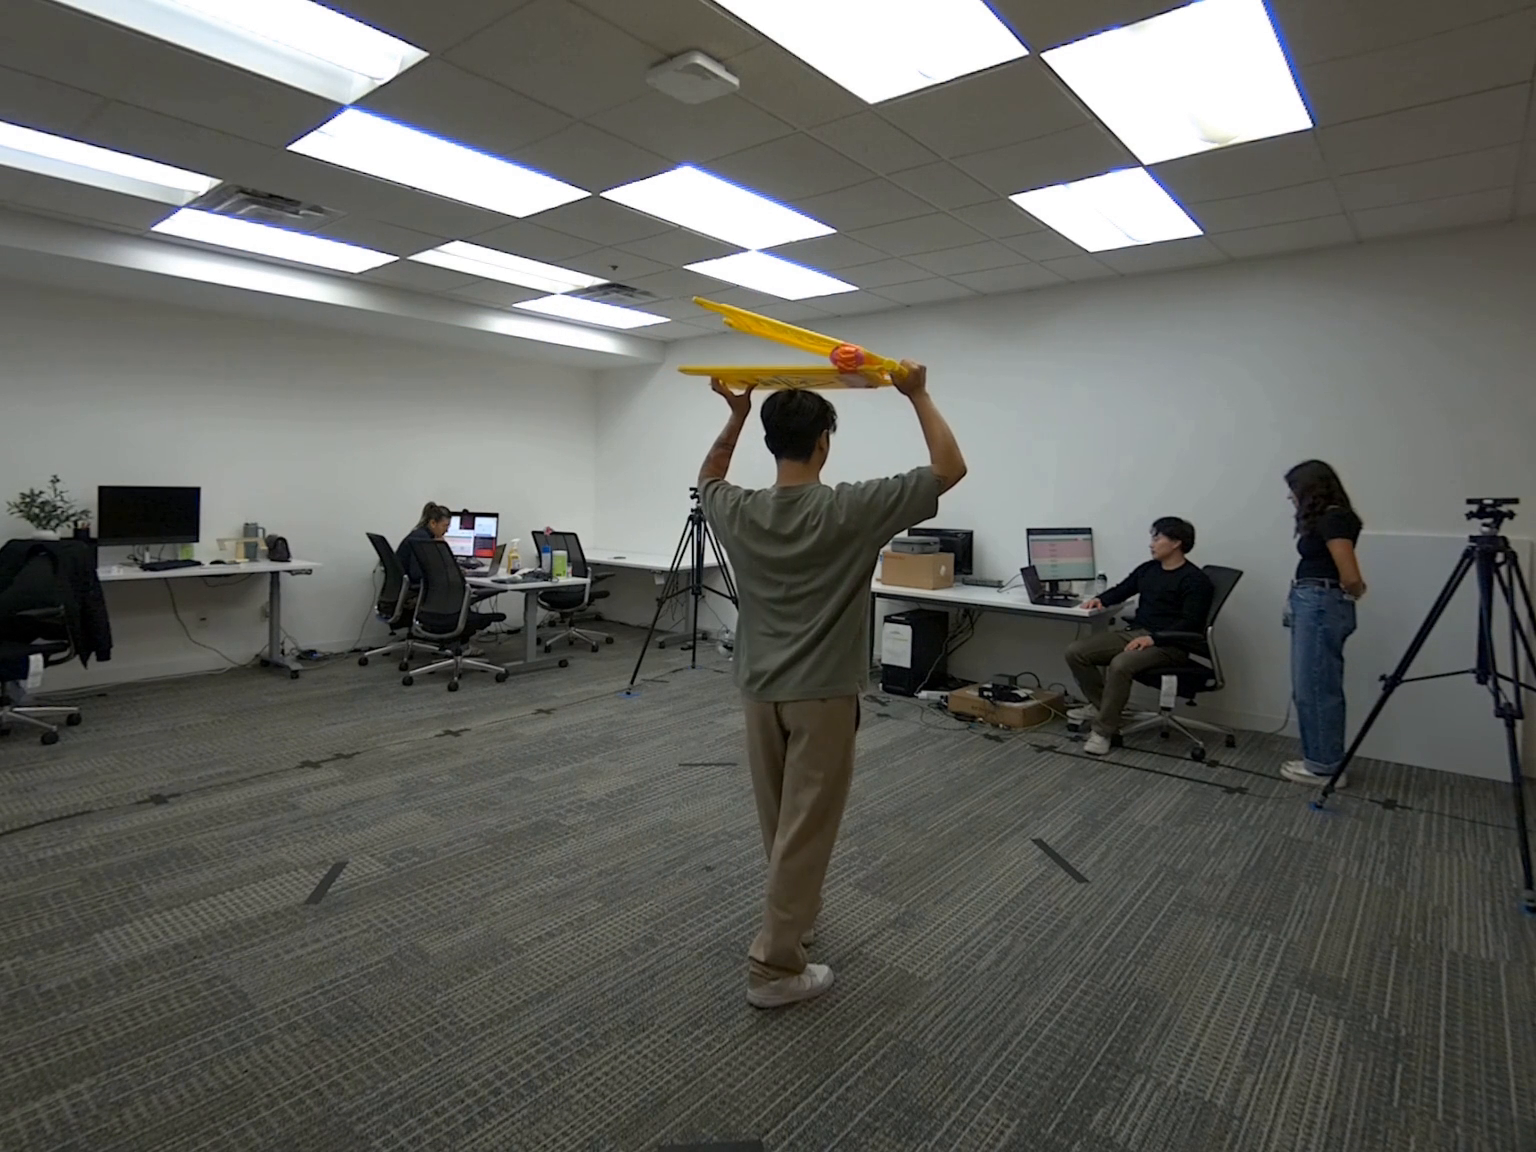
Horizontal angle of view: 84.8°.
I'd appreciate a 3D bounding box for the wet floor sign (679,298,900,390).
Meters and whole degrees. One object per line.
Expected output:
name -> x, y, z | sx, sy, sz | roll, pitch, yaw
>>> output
wet floor sign -> 0.086, -0.628, 2.472 | 0.665, 0.289, 0.274 | 13, 2, 25
